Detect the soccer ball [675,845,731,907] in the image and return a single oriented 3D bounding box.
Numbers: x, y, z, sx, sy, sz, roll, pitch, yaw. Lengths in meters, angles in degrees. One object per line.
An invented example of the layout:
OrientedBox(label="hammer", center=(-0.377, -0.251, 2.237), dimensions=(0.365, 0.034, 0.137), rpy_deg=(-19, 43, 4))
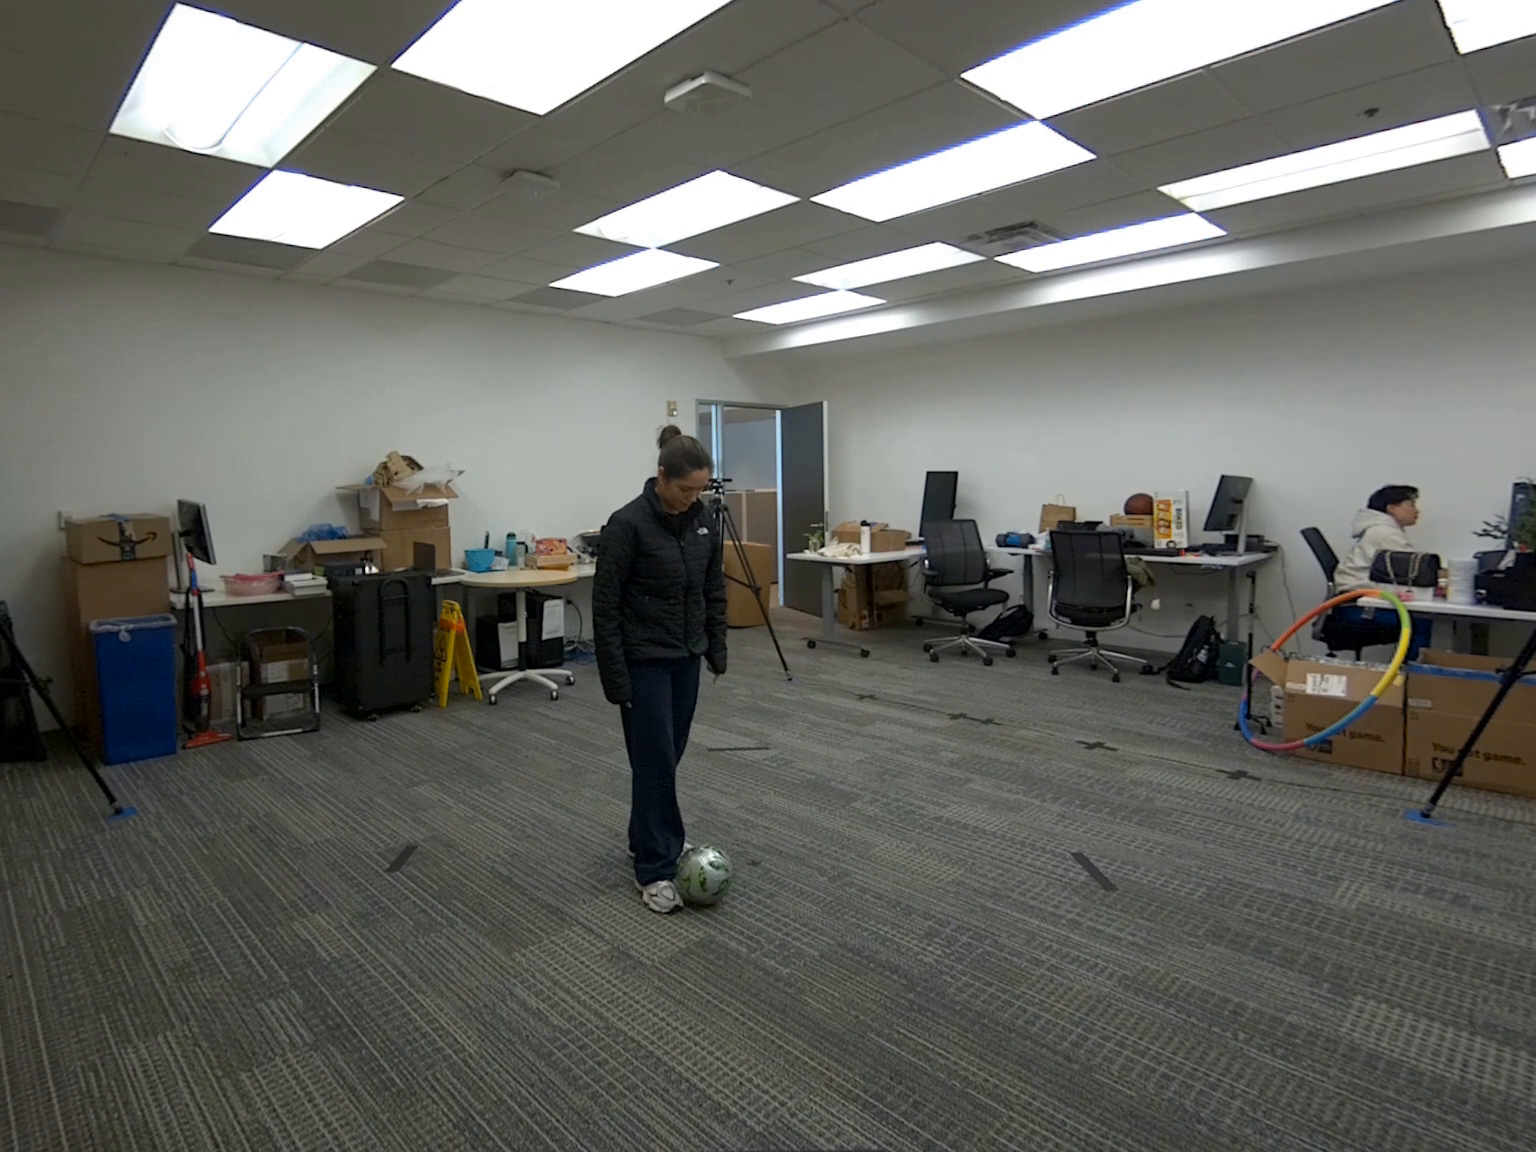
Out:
OrientedBox(label="soccer ball", center=(-0.195, 0.982, 2.824), dimensions=(0.187, 0.187, 0.188), rpy_deg=(-1, 5, -2))
